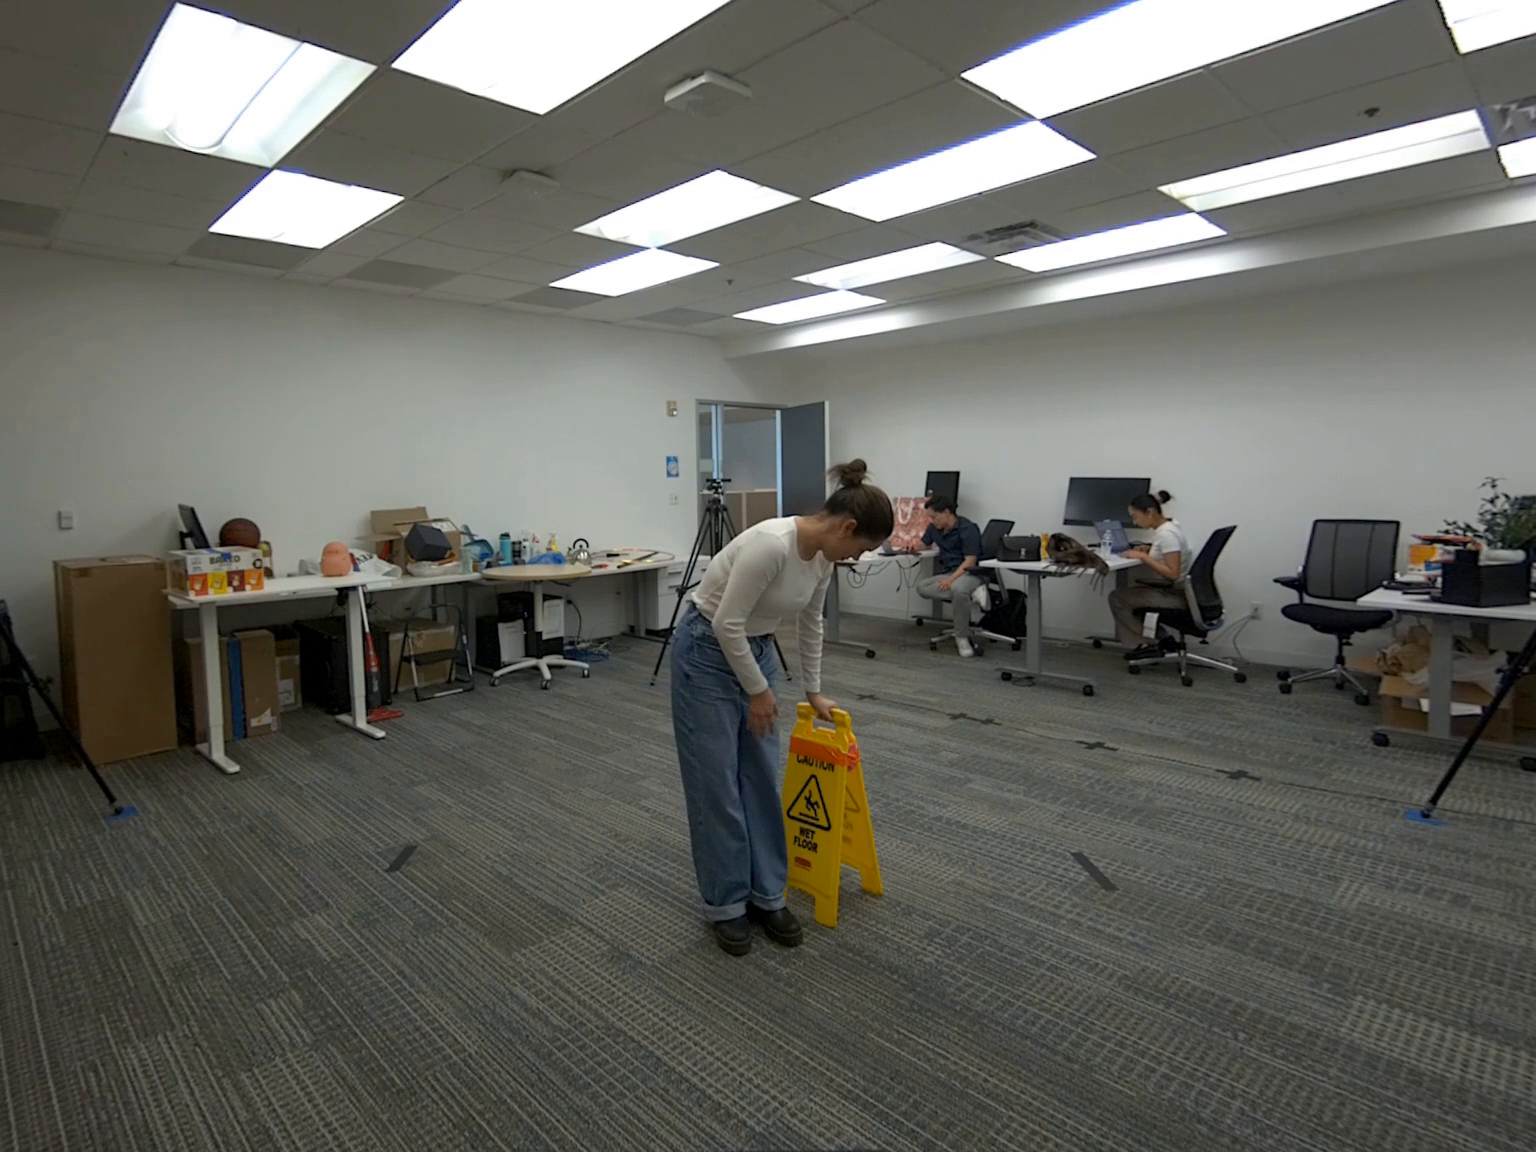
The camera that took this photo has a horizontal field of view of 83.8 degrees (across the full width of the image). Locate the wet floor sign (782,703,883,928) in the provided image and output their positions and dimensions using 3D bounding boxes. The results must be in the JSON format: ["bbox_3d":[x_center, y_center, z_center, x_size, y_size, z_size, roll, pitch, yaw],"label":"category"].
[{"bbox_3d":[0.187,0.750,2.824,0.291,0.643,0.282,3,6,41],"label":"wet floor sign"}]
